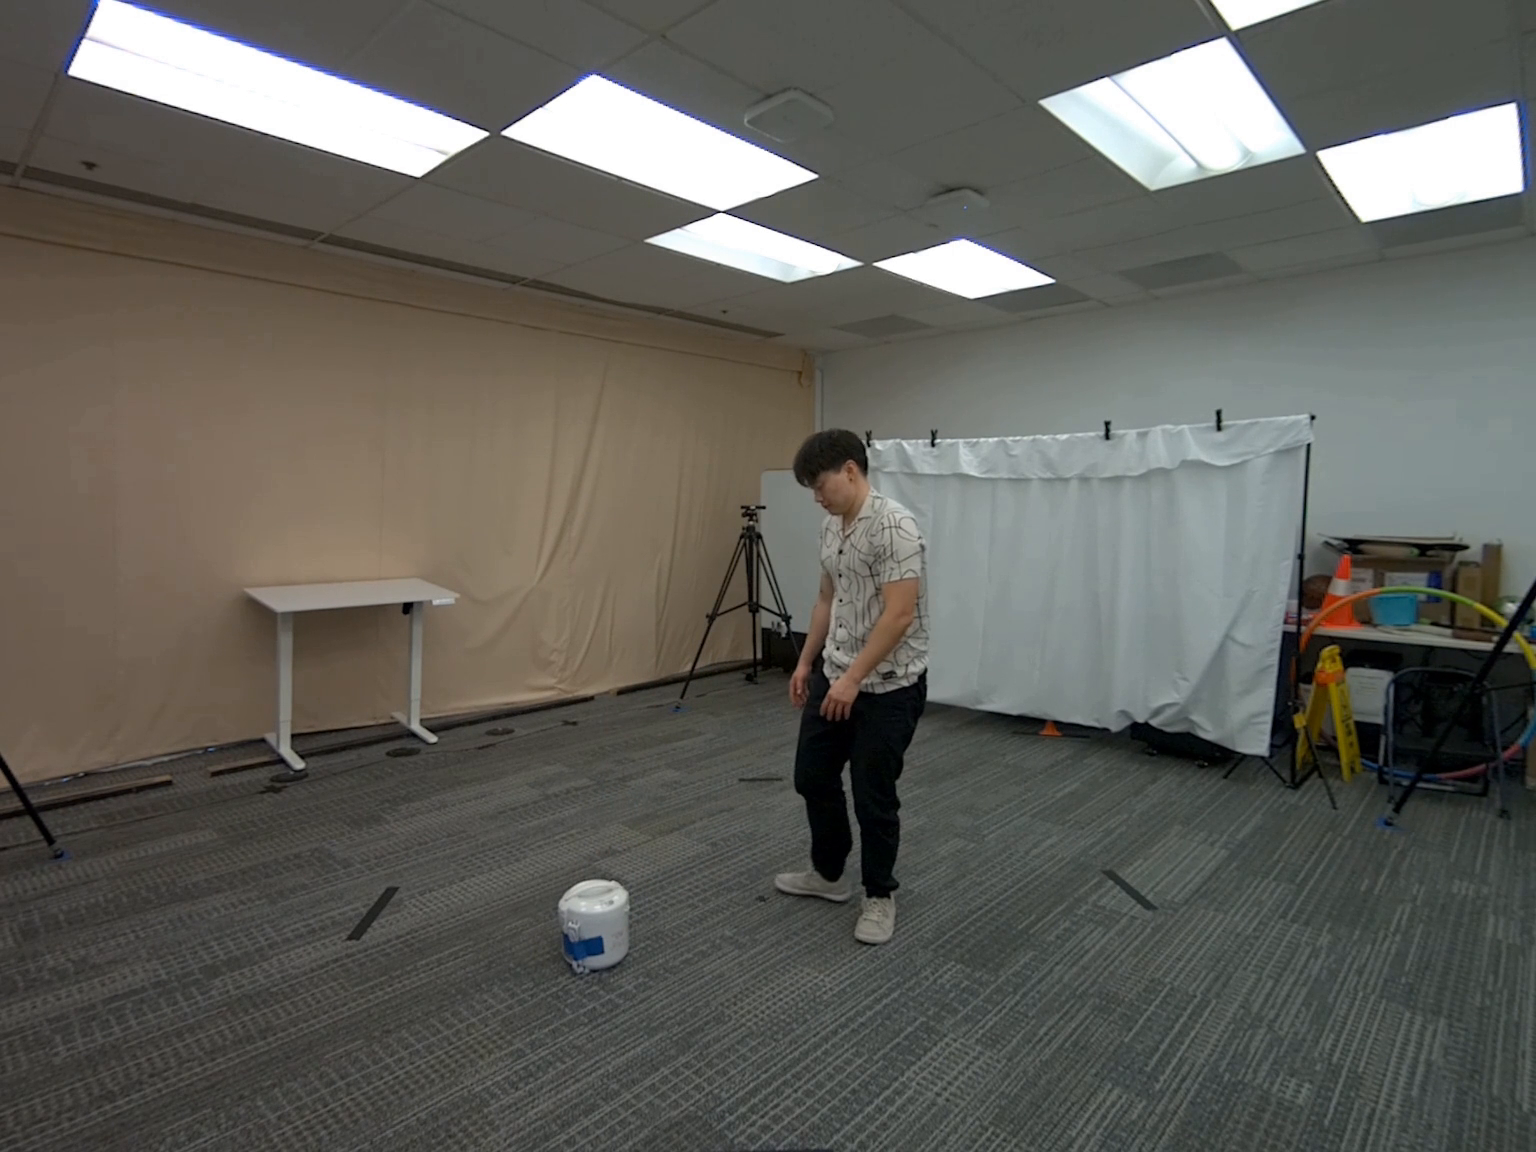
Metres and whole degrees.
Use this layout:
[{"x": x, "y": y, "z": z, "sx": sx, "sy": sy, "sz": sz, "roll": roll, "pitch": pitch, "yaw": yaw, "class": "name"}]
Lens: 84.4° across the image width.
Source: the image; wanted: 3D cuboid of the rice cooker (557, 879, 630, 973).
[{"x": -0.534, "y": 1.060, "z": 2.611, "sx": 0.215, "sy": 0.232, "sz": 0.223, "roll": -2, "pitch": 5, "yaw": -25, "class": "rice cooker"}]
